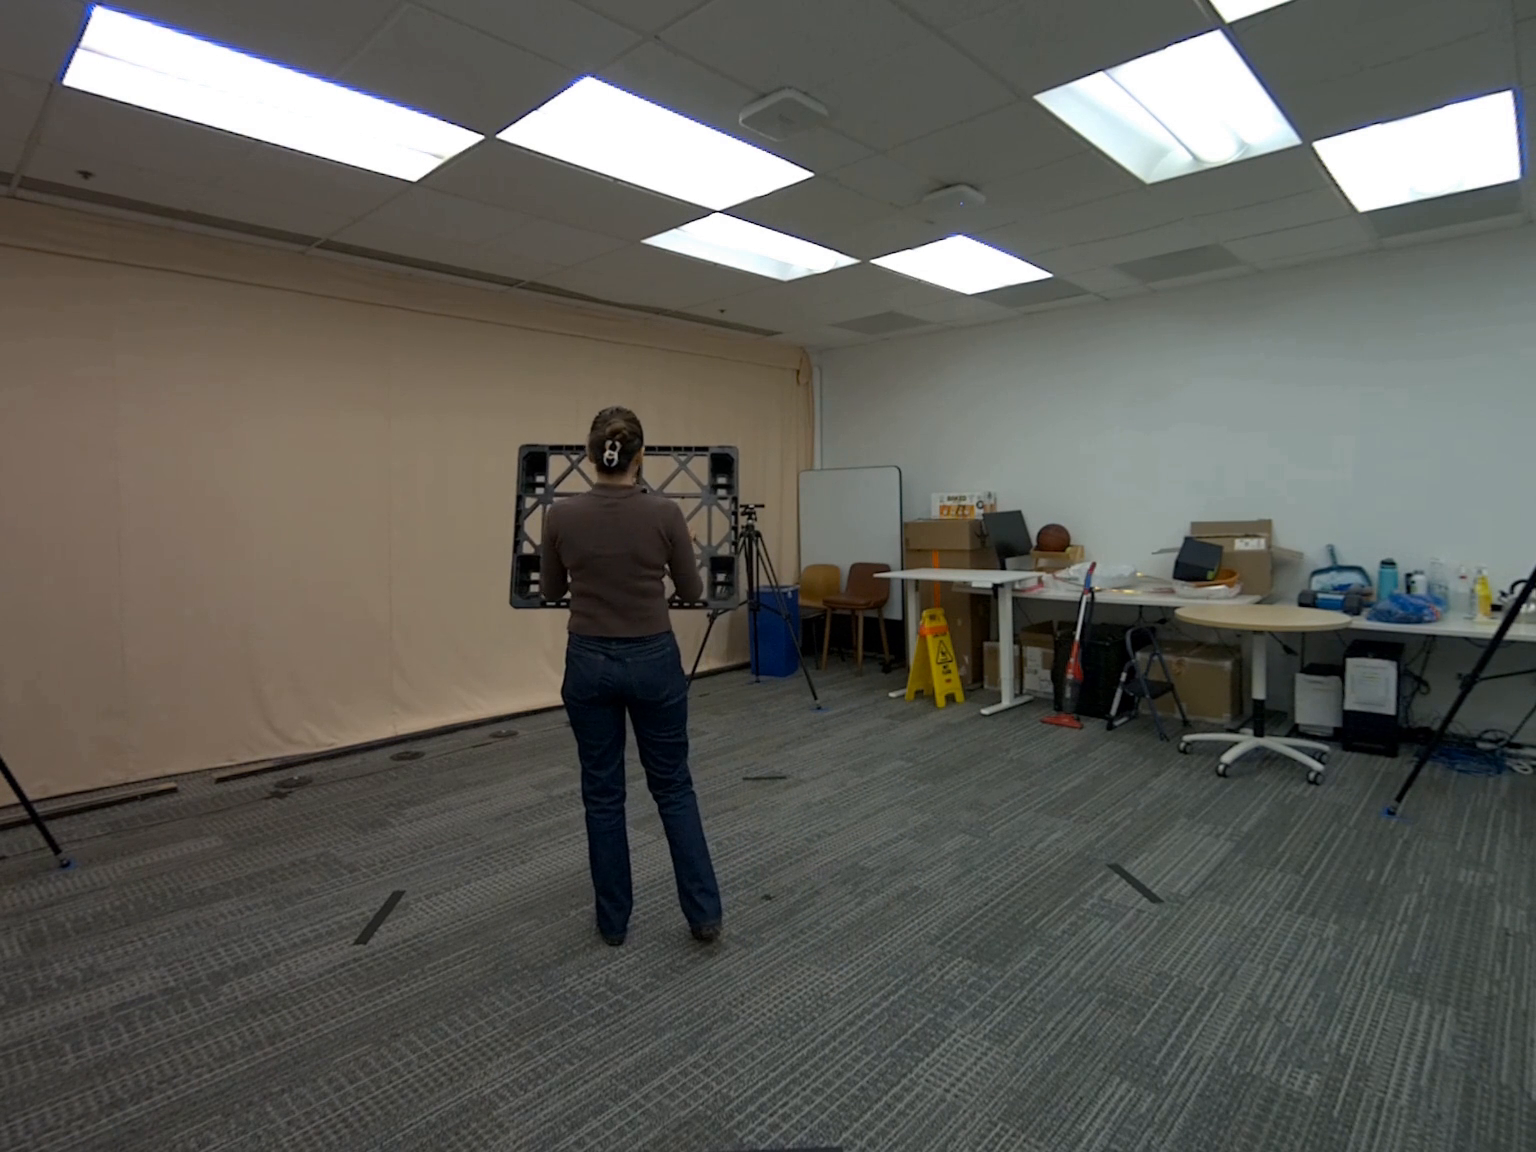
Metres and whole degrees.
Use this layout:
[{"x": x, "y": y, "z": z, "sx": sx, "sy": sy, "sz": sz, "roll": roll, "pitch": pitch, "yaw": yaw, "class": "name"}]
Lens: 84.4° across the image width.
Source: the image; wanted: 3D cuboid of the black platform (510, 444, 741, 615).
[{"x": -0.503, "y": -0.168, "z": 3.042, "sx": 0.804, "sy": 0.610, "sz": 0.142, "roll": 0, "pitch": -13, "yaw": -2, "class": "black platform"}]
